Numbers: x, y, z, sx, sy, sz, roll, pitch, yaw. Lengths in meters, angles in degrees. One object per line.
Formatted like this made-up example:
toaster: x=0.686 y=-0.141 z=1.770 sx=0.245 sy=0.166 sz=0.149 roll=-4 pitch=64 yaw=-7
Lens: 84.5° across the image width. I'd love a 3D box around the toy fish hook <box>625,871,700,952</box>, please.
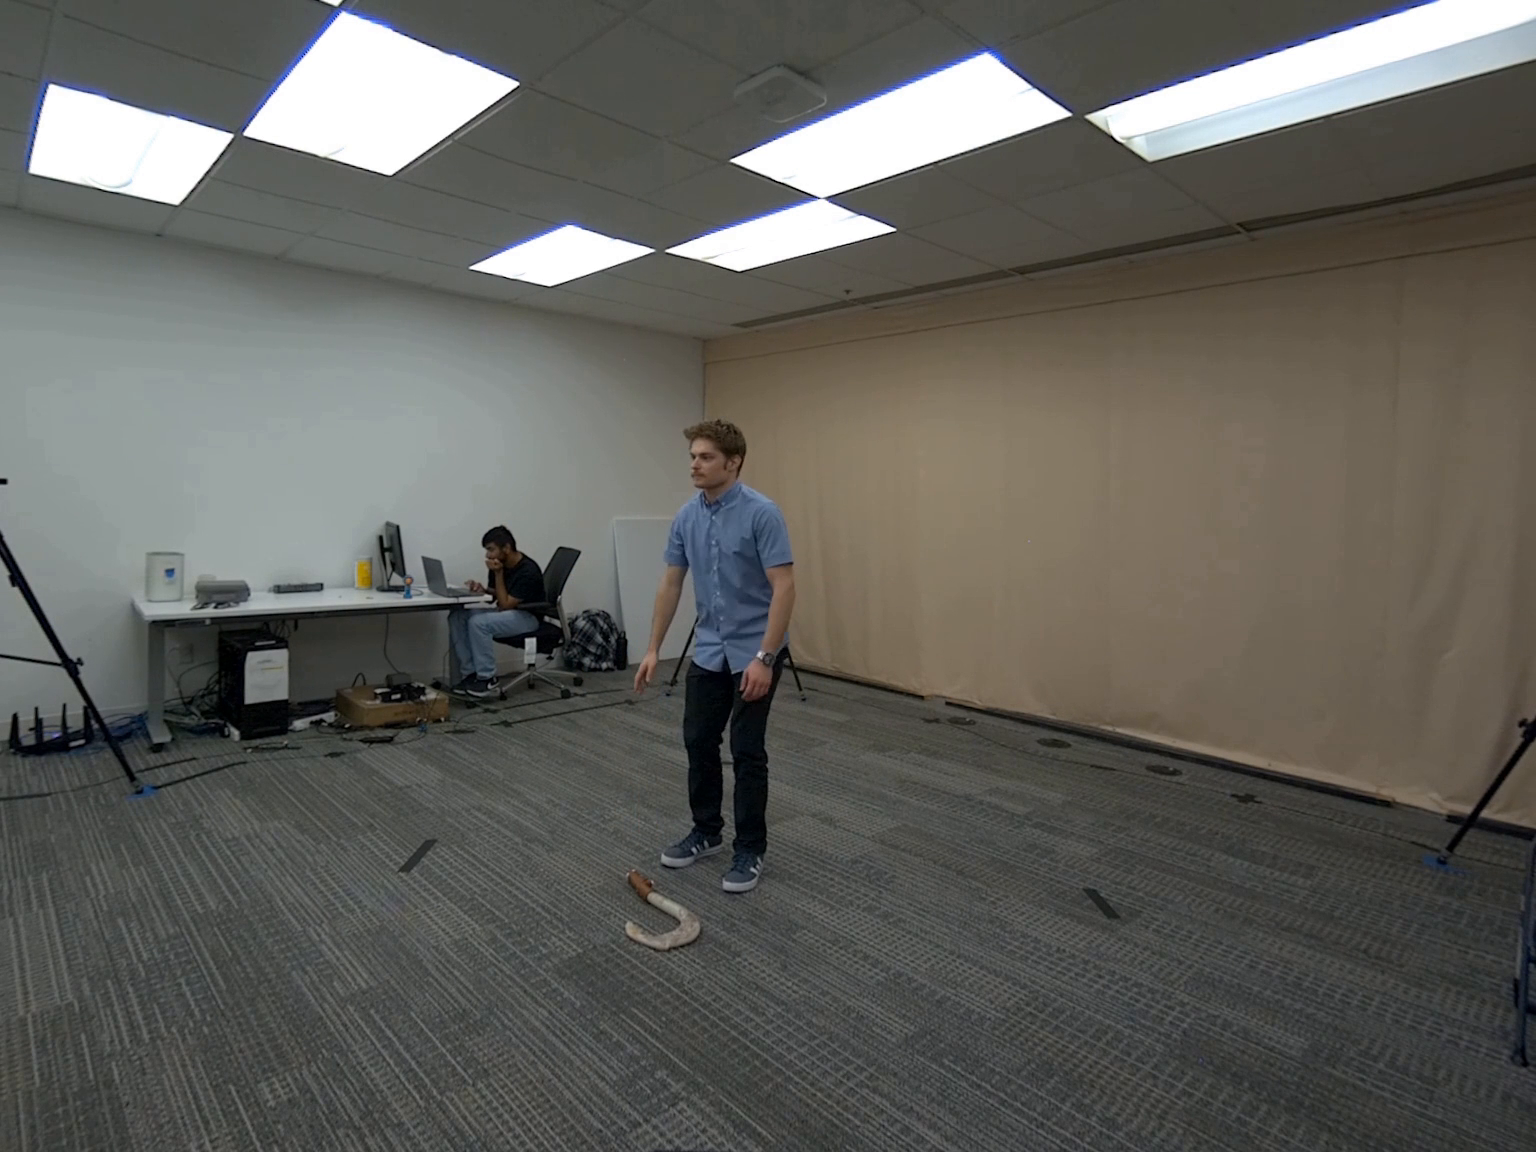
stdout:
toy fish hook: x=-0.408 y=1.106 z=2.804 sx=0.220 sy=0.048 sz=0.518 roll=0 pitch=5 yaw=-31
